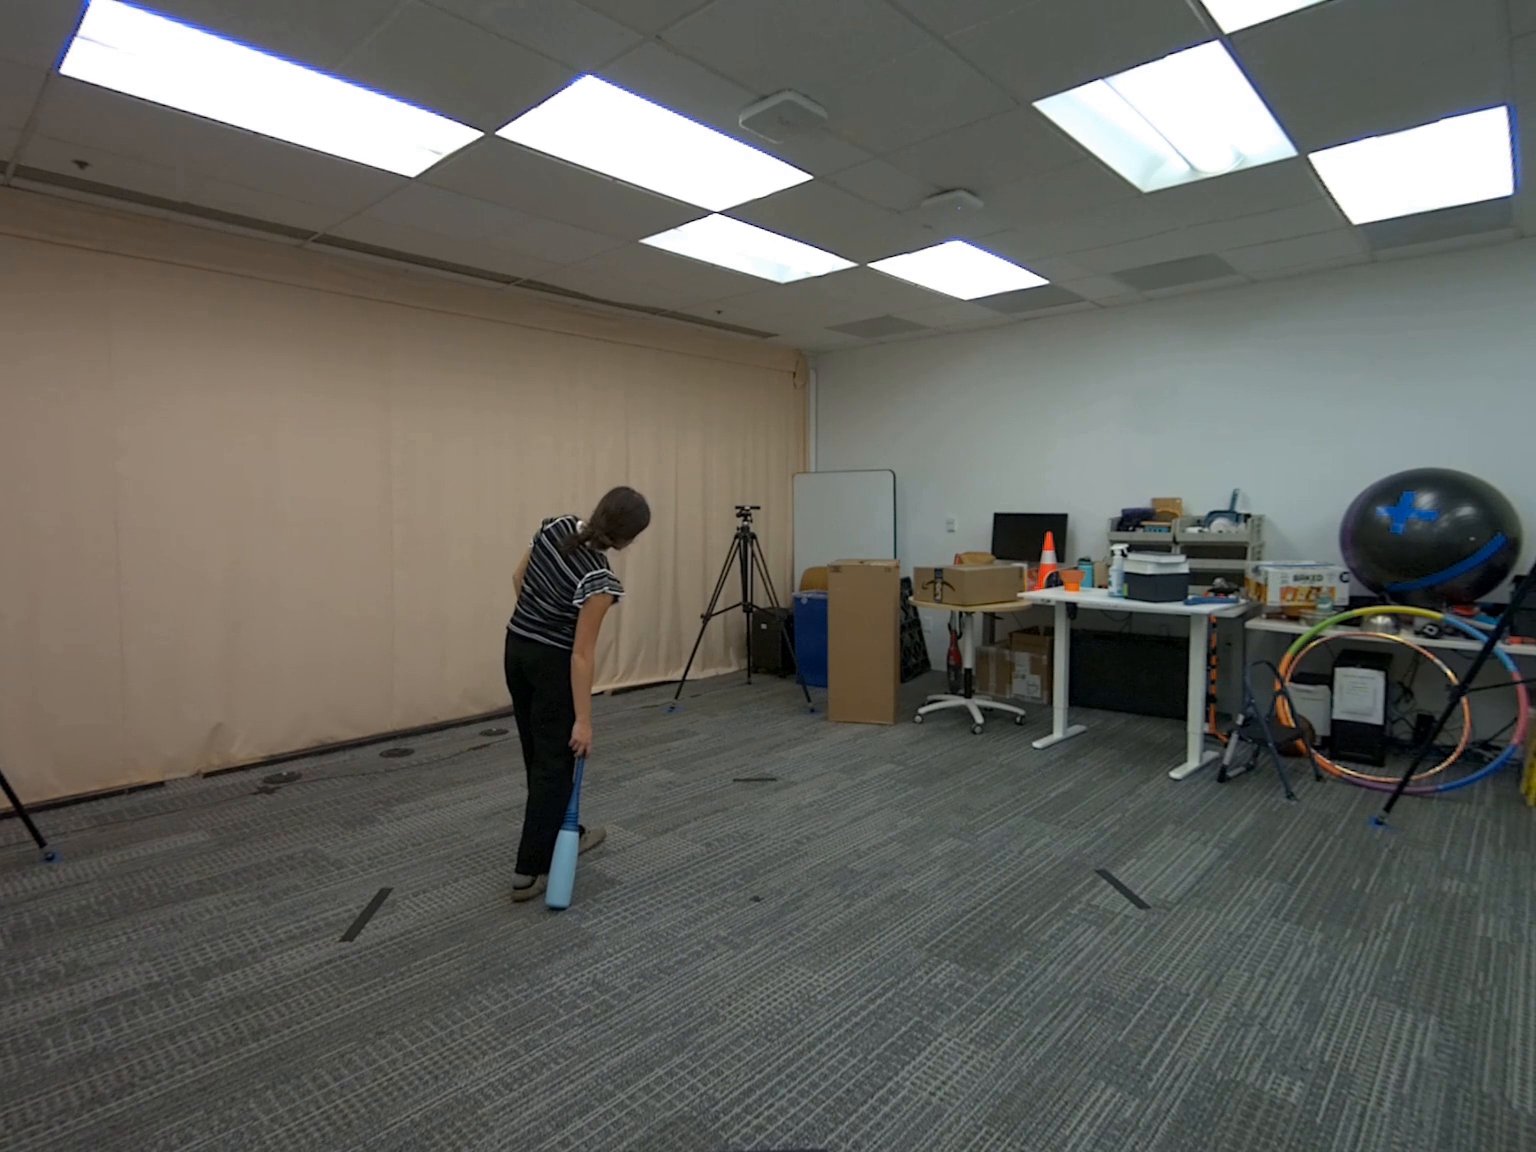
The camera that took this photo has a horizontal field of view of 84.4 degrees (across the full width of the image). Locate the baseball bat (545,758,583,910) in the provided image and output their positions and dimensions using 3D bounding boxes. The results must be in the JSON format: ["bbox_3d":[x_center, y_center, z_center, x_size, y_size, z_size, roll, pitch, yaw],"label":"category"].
[{"bbox_3d":[-0.706,0.894,3.007,0.089,0.548,0.088,6,-21,0],"label":"baseball bat"}]
